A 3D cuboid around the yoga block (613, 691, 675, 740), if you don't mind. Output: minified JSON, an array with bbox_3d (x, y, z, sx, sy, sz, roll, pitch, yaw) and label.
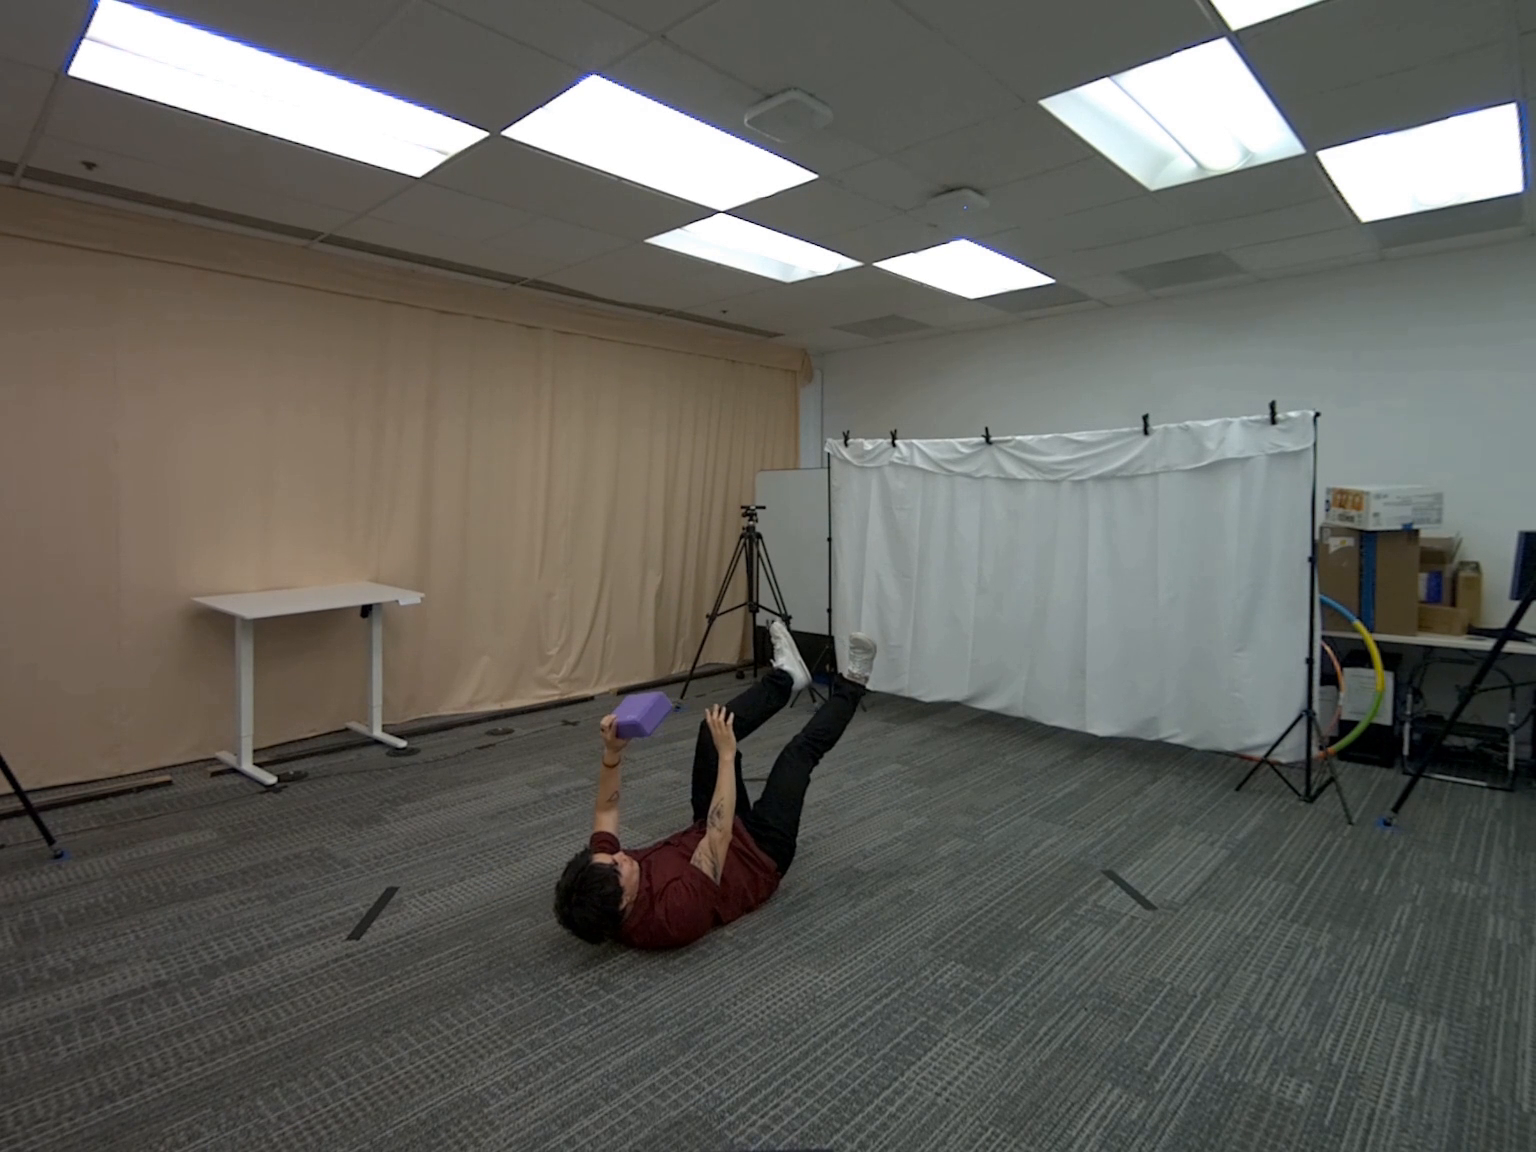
[{"bbox_3d":[-0.438,0.478,2.852,0.235,0.075,0.148,-15,27,50],"label":"yoga block"}]
